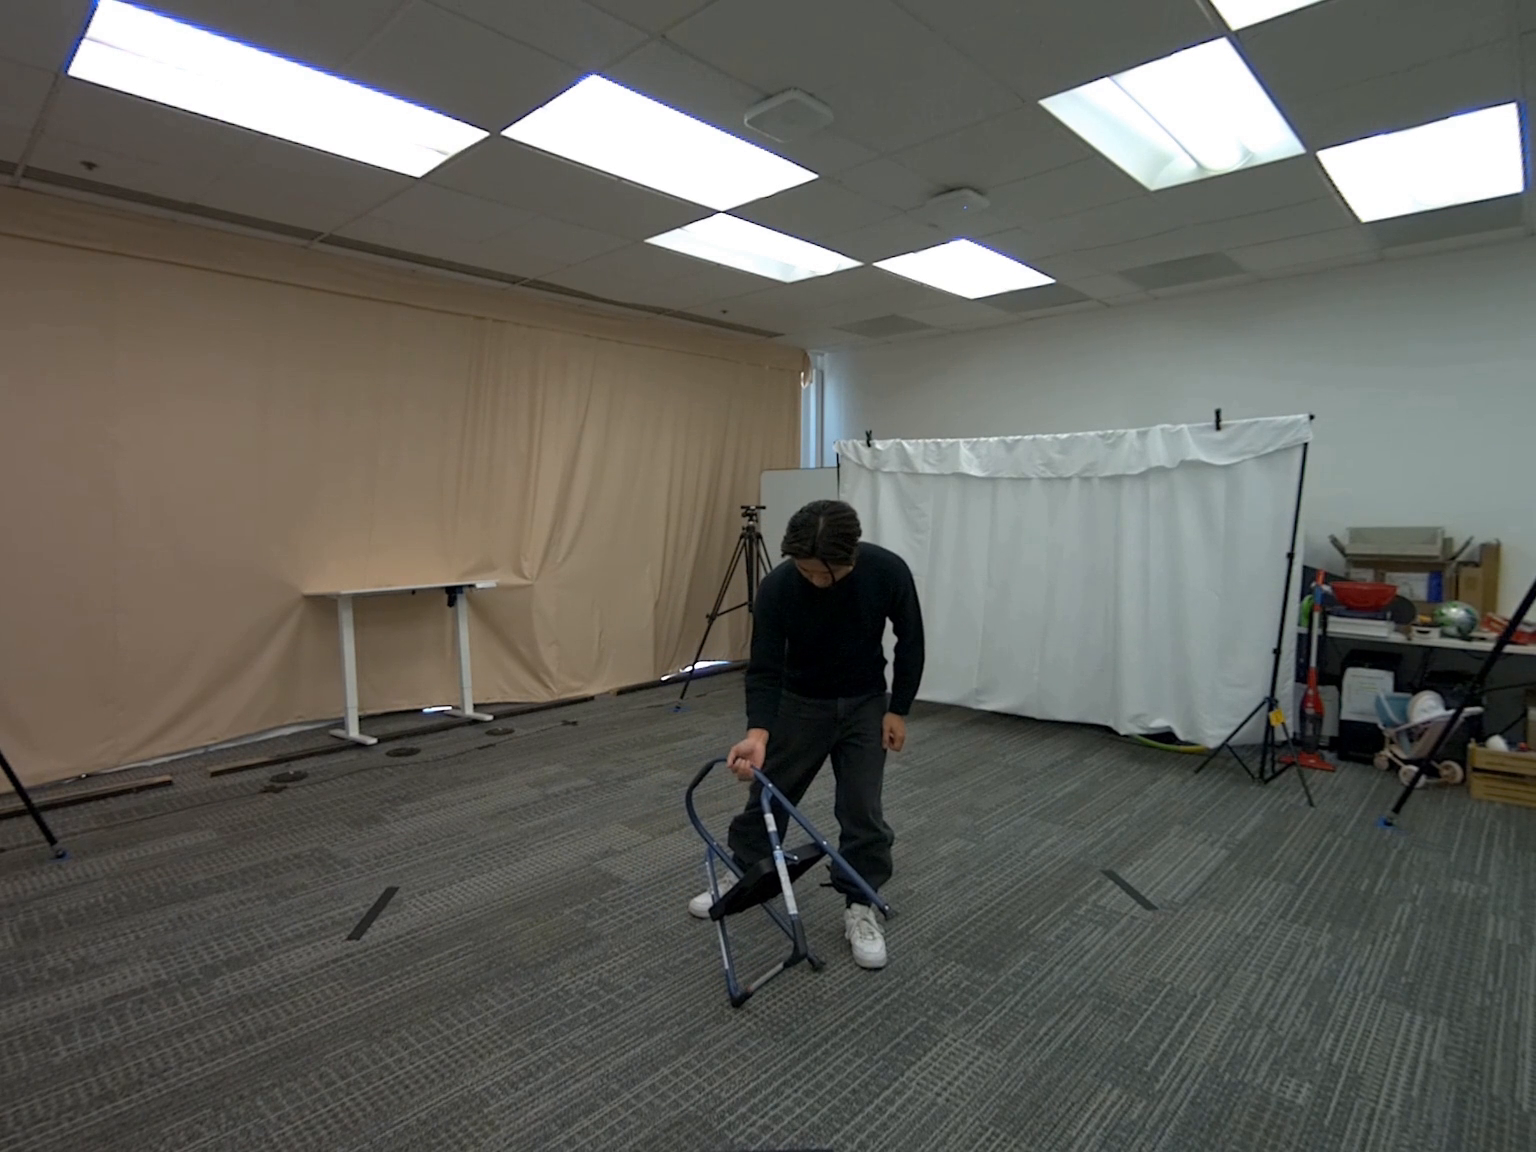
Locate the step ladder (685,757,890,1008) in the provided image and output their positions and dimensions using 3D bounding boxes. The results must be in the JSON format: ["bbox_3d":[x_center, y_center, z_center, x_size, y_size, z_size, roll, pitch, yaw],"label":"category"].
[{"bbox_3d":[-0.004,0.823,2.455,0.339,0.623,0.431,-4,-38,-38],"label":"step ladder"}]
